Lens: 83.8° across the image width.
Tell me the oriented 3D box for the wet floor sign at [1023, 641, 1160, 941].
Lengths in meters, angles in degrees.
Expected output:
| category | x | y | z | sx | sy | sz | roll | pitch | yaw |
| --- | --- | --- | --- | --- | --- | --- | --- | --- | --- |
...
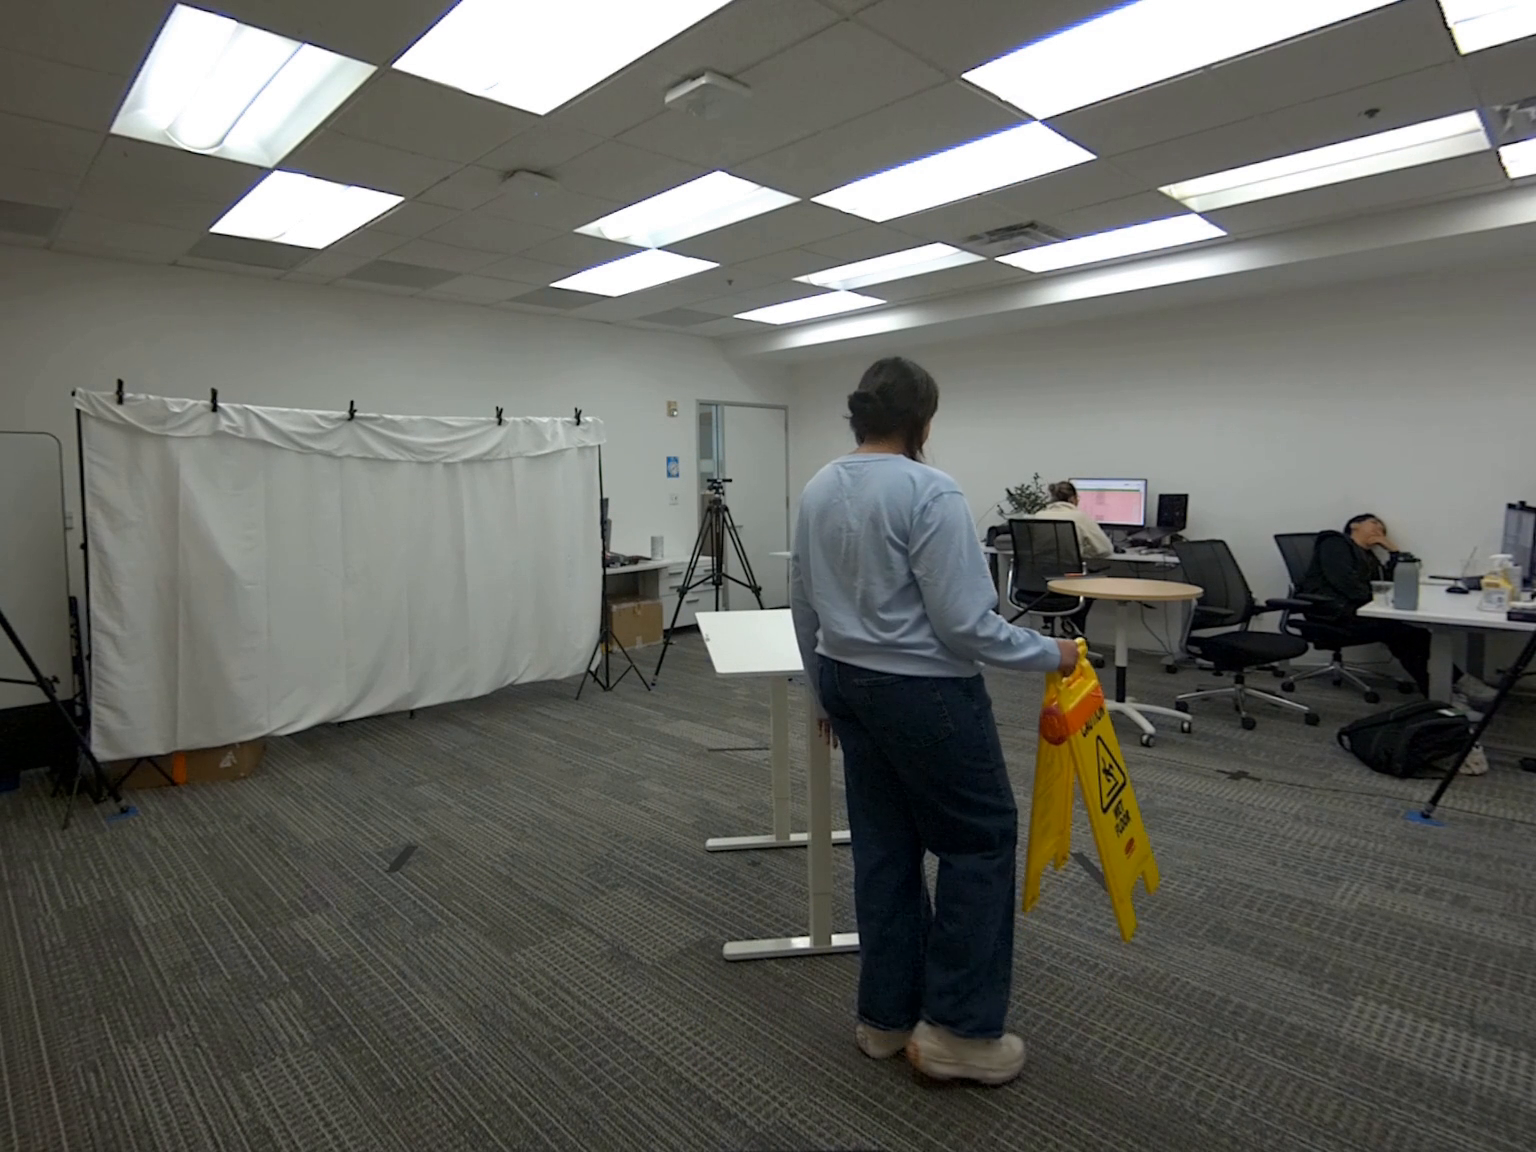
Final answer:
| category | x | y | z | sx | sy | sz | roll | pitch | yaw |
| --- | --- | --- | --- | --- | --- | --- | --- | --- | --- |
| wet floor sign | 0.760 | 0.493 | 2.081 | 0.298 | 0.639 | 0.277 | 1 | 14 | 41 |
